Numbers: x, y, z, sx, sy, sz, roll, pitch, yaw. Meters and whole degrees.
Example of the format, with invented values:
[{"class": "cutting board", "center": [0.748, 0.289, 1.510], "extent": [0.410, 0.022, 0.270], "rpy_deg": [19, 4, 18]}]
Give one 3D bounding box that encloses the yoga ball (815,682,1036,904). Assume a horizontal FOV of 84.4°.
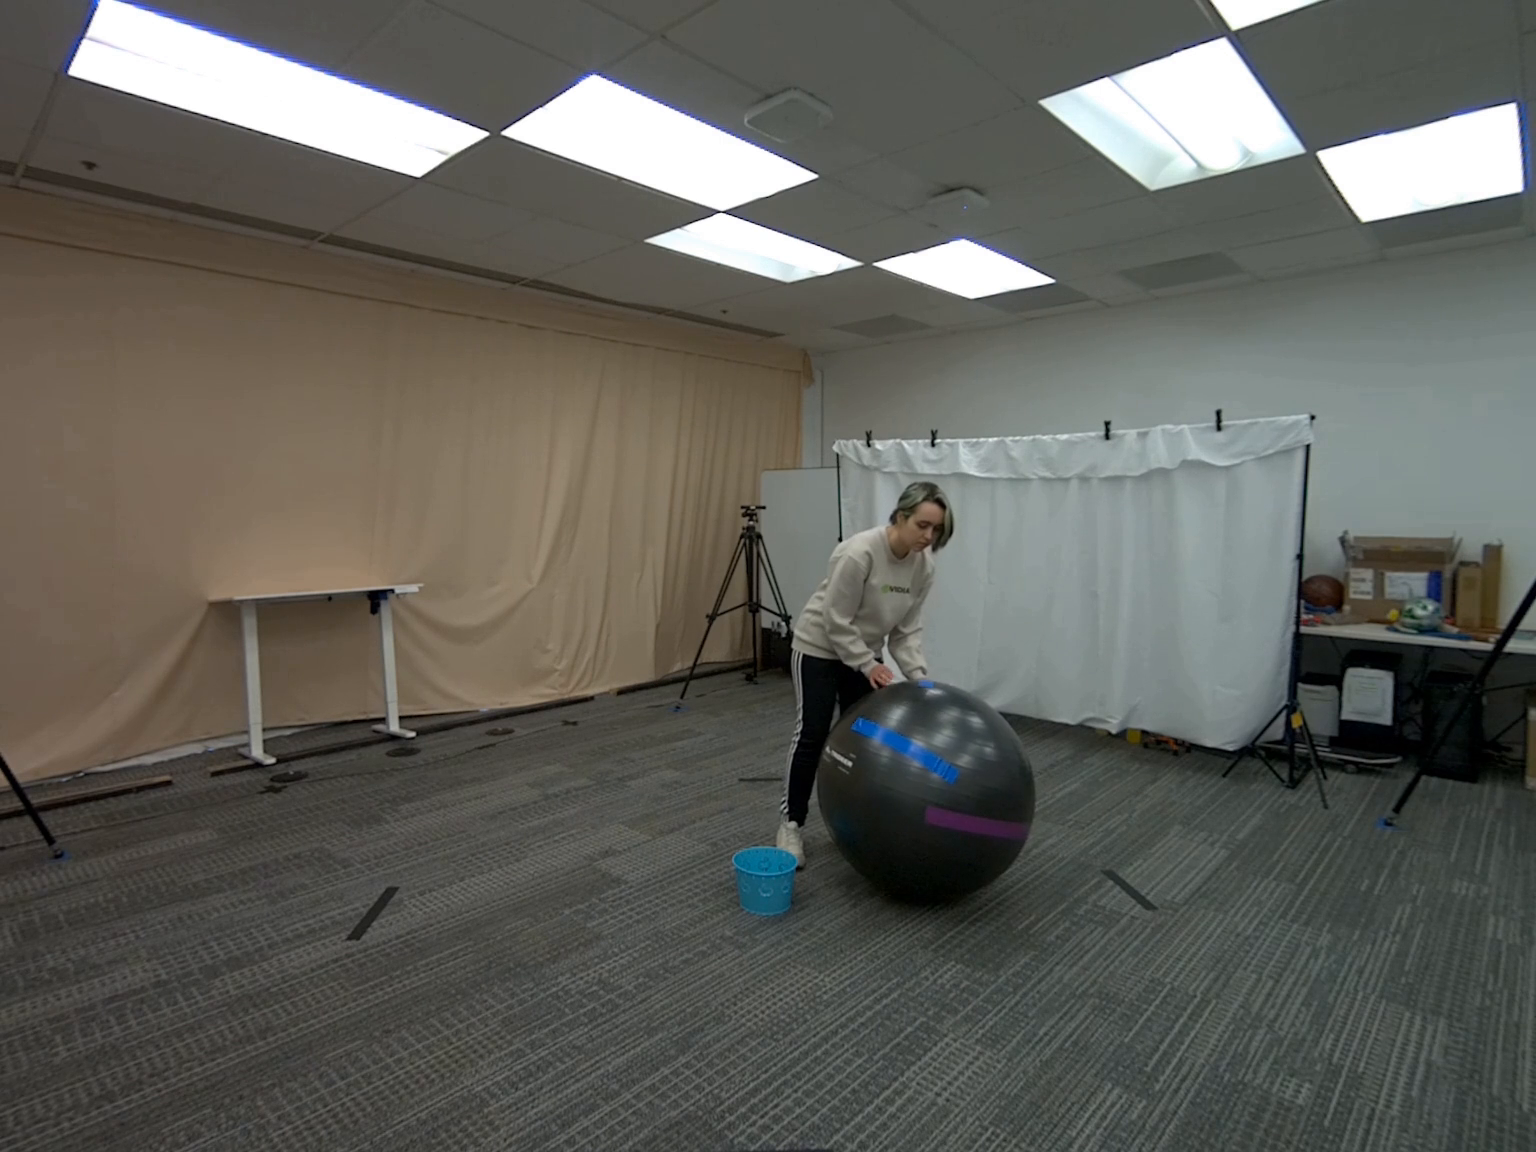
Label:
[{"class": "yoga ball", "center": [0.567, 0.768, 3.022], "extent": [0.757, 0.756, 0.760], "rpy_deg": [0, 4, -2]}]
